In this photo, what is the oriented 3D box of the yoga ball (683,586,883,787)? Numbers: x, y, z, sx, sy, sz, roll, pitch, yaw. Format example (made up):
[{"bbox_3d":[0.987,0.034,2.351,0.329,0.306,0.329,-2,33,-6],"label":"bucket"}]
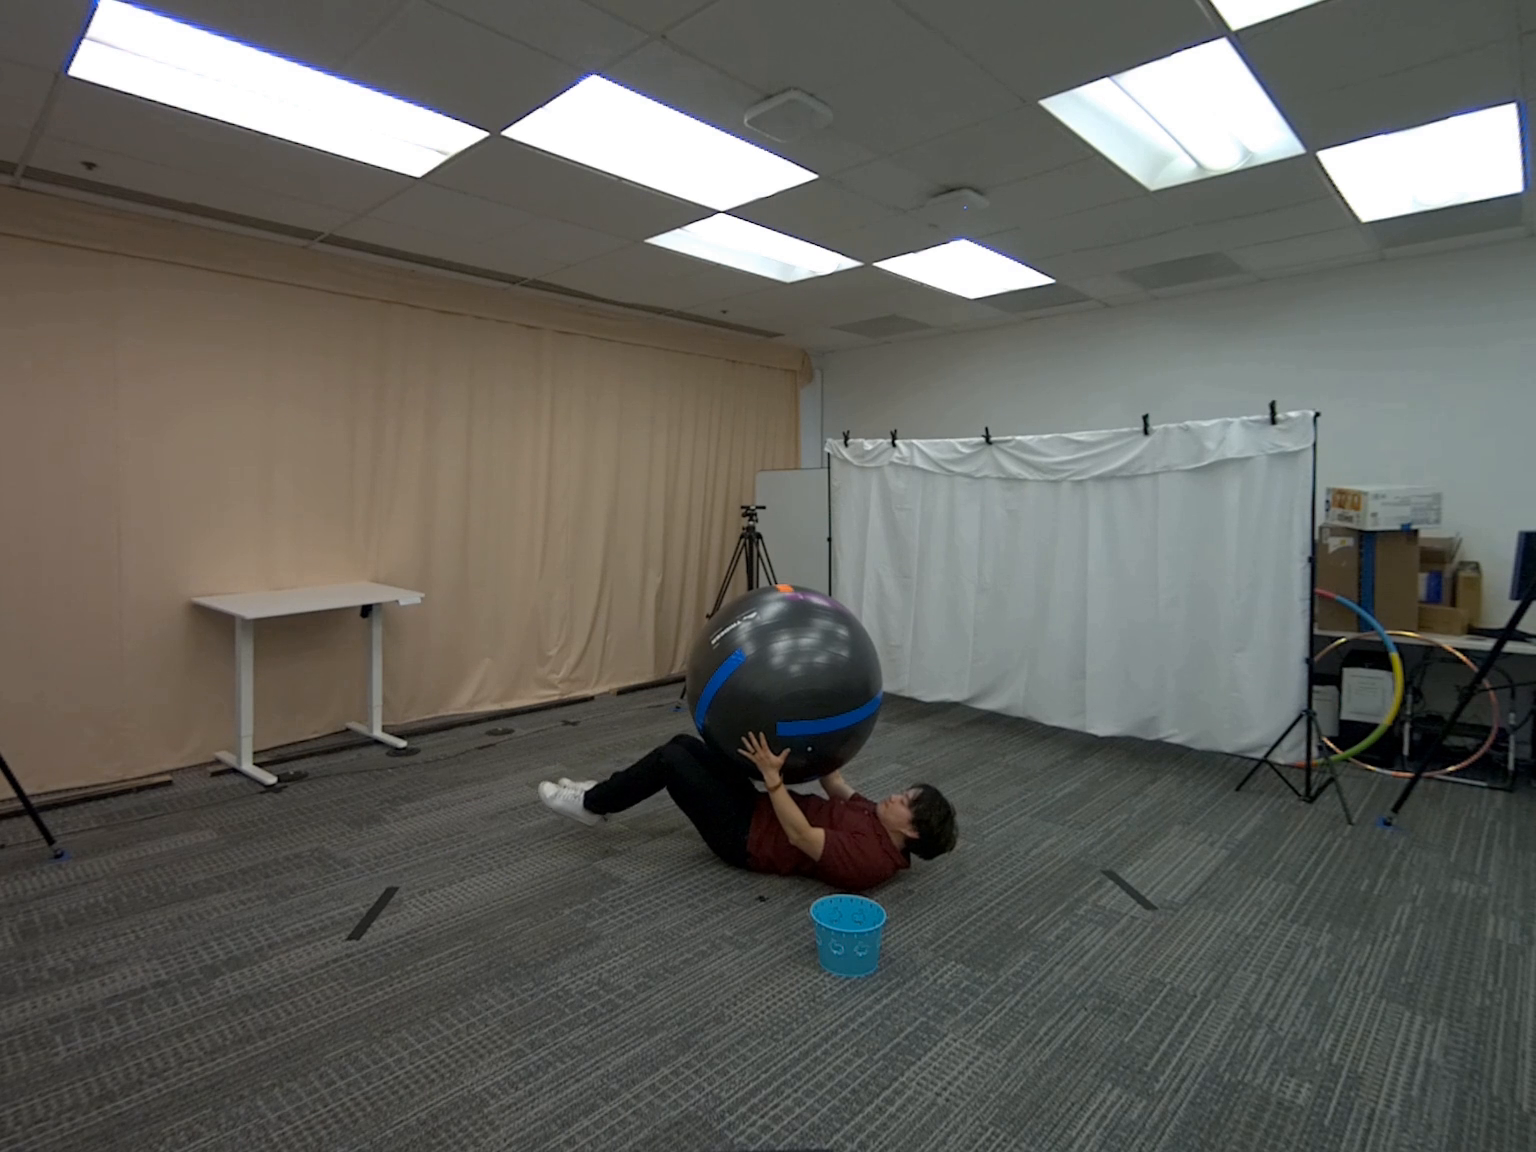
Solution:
[{"bbox_3d":[0.060,0.416,3.268,0.757,0.756,0.760,0,4,-2],"label":"yoga ball"}]
